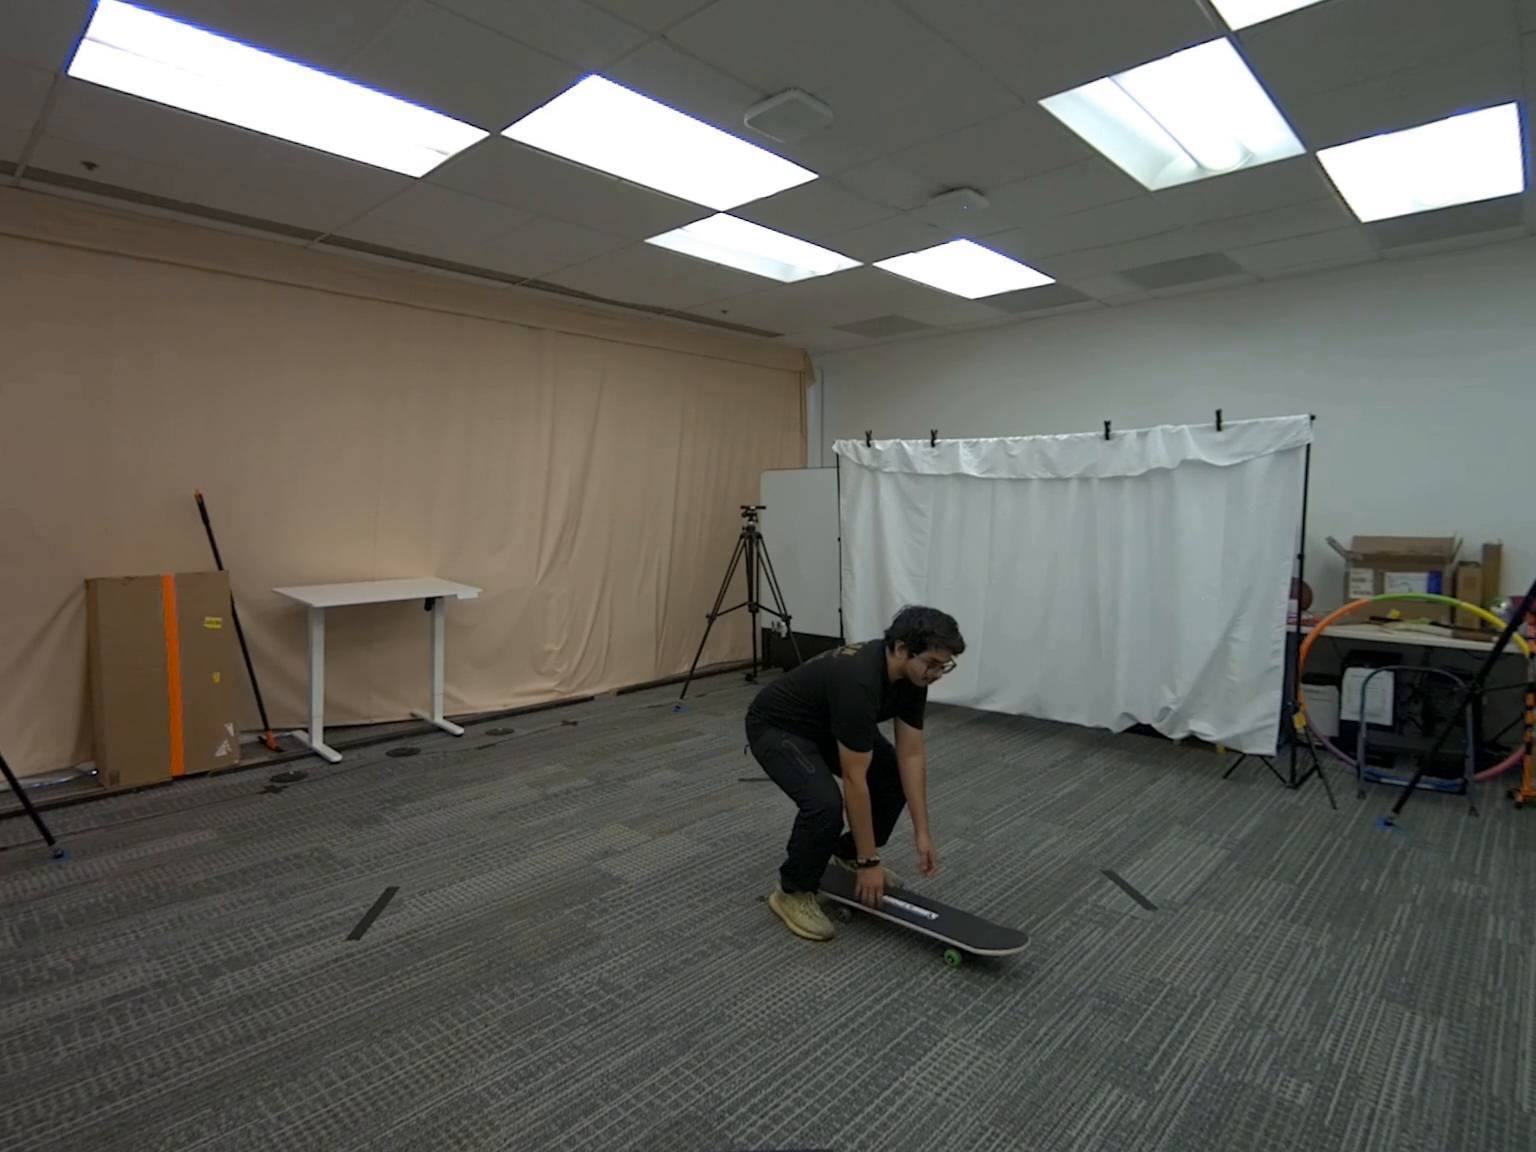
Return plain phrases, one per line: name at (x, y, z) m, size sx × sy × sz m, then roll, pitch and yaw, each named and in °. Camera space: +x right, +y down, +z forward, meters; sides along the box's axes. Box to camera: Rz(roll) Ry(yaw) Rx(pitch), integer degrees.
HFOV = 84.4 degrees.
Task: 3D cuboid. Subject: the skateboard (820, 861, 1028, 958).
skateboard at (0.462, 1.108, 2.732) m, size 0.812 × 0.110 × 0.187 m, roll 4°, pitch 6°, yaw 42°
